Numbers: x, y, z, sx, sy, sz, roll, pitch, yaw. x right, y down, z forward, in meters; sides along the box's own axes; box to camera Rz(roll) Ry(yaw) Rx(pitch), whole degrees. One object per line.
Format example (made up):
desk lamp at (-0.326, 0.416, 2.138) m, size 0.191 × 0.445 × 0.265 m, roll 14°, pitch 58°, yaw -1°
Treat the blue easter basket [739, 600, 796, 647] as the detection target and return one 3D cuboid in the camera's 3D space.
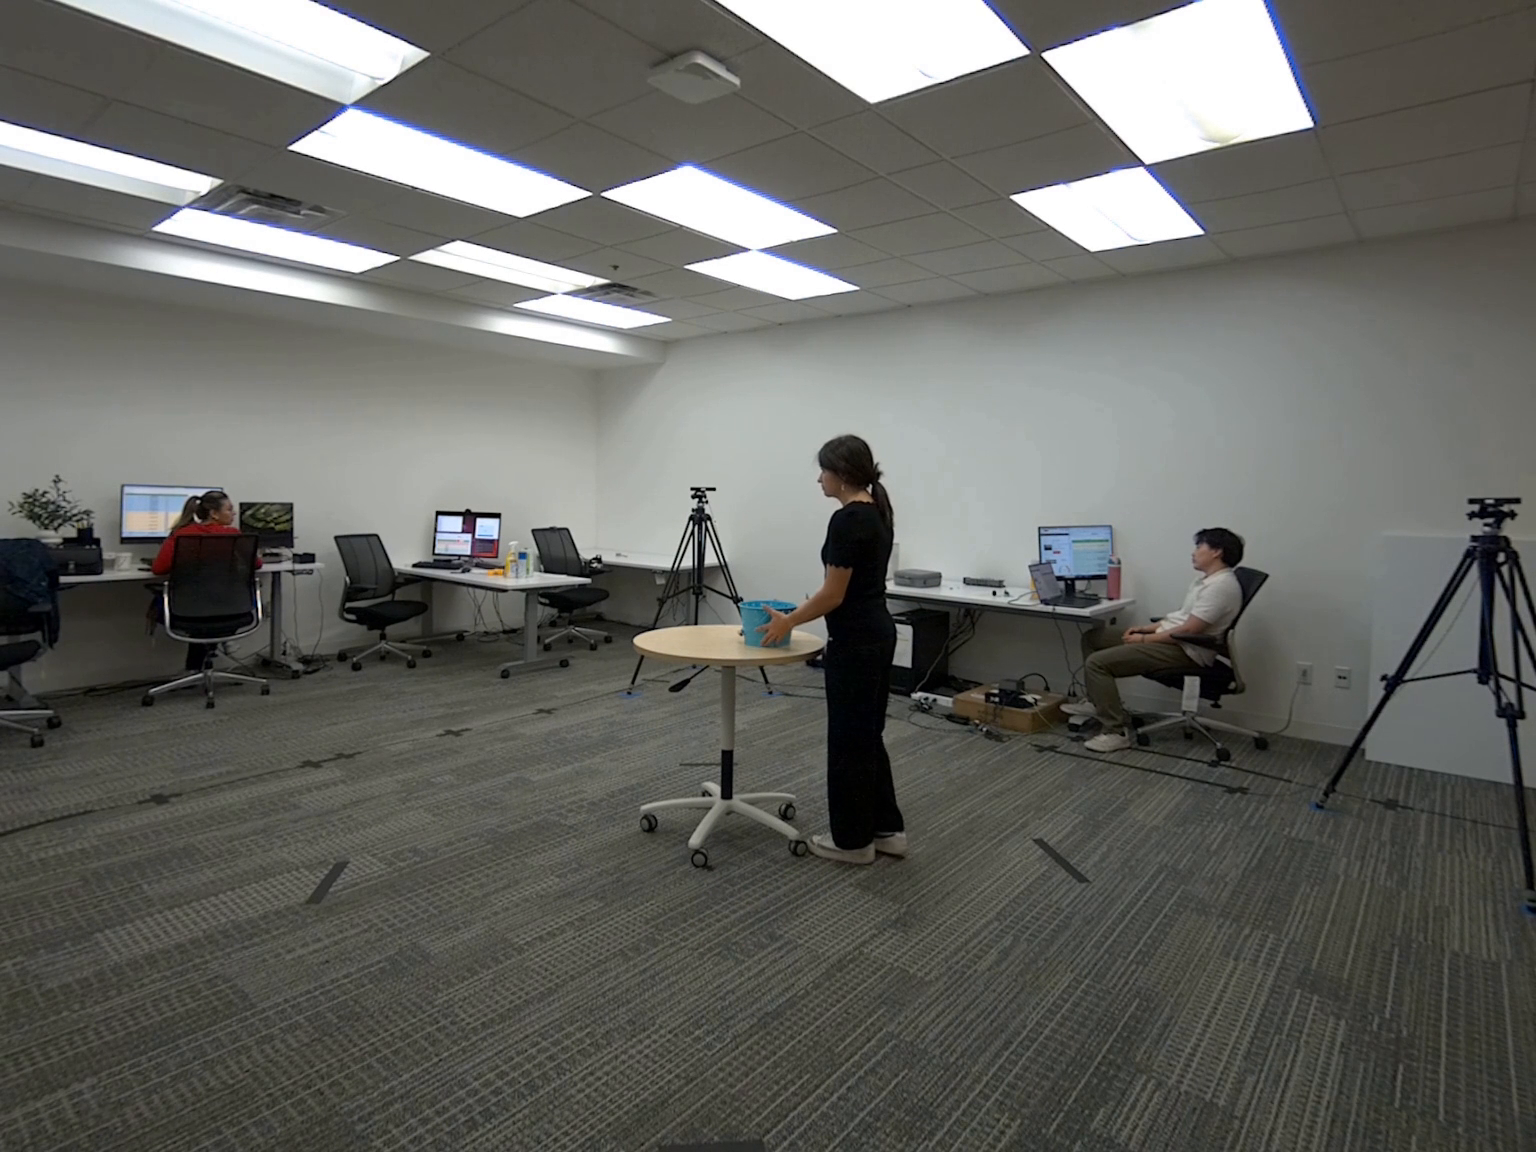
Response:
blue easter basket at (-0.007, 0.187, 3.369) m, size 0.243 × 0.155 × 0.245 m, roll 1°, pitch 6°, yaw -2°
